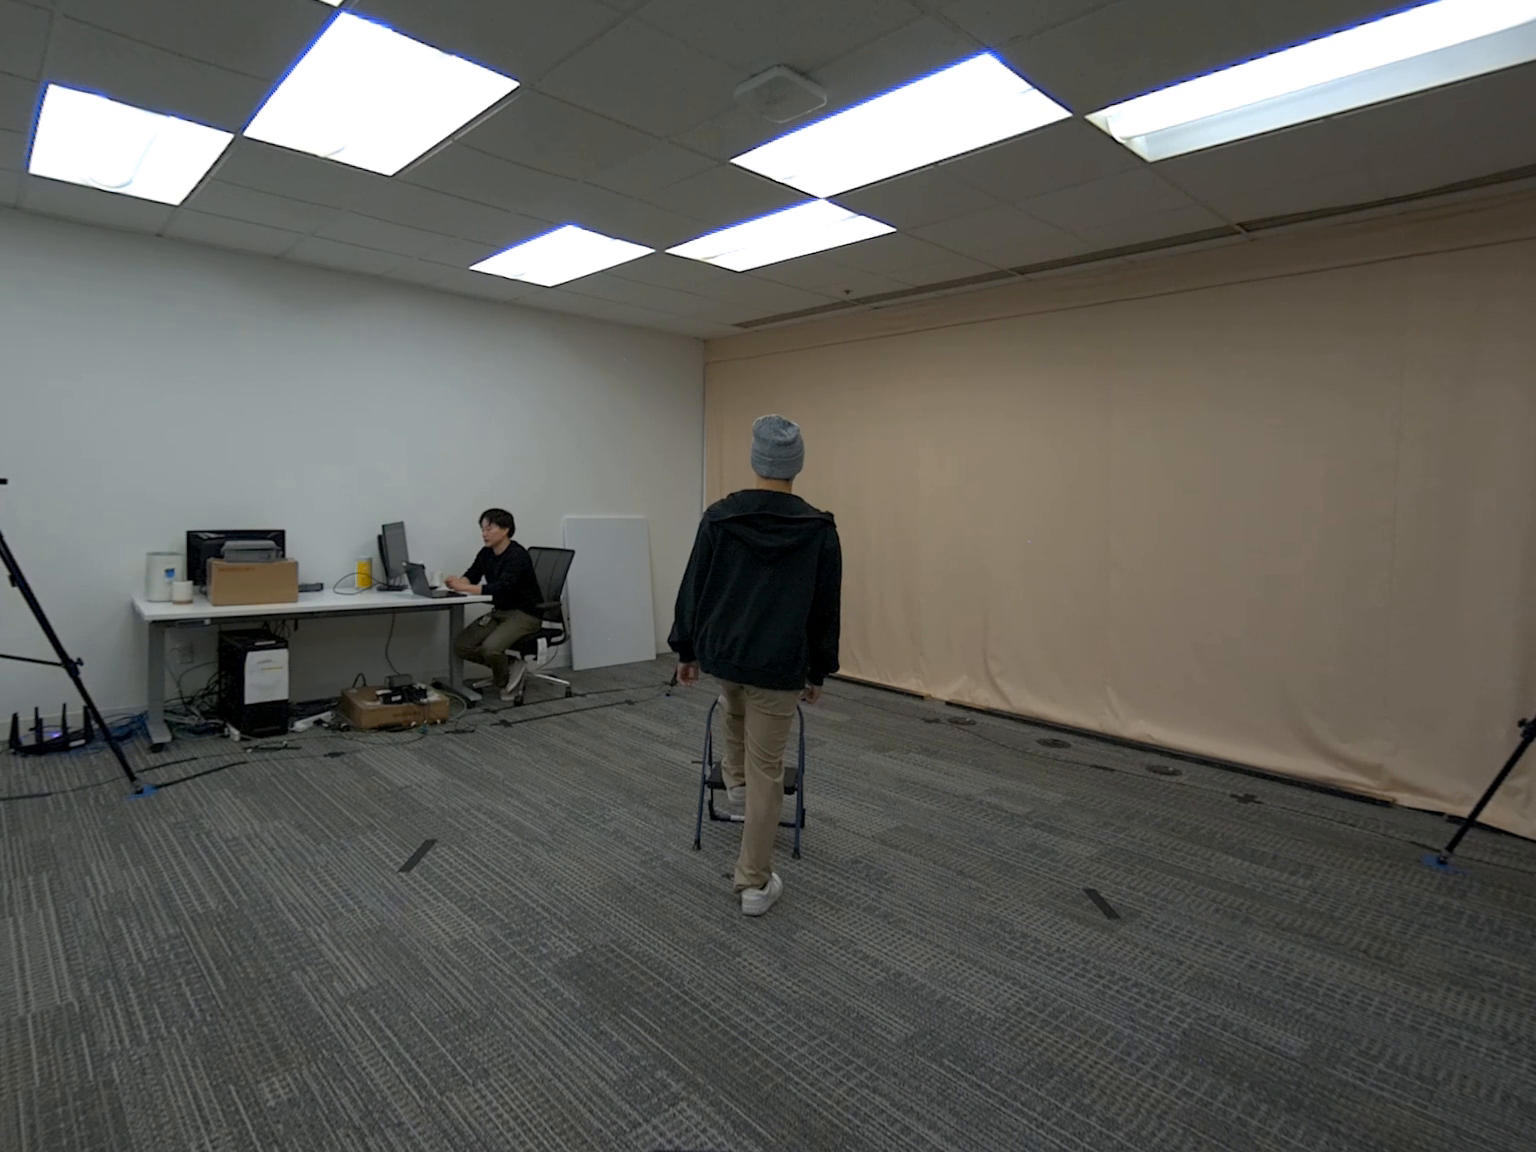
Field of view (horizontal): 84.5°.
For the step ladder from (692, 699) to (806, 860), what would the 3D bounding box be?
[{"bbox_3d":[-0.066,0.779,3.452,0.433,0.604,0.348,2,4,7],"label":"step ladder"}]
